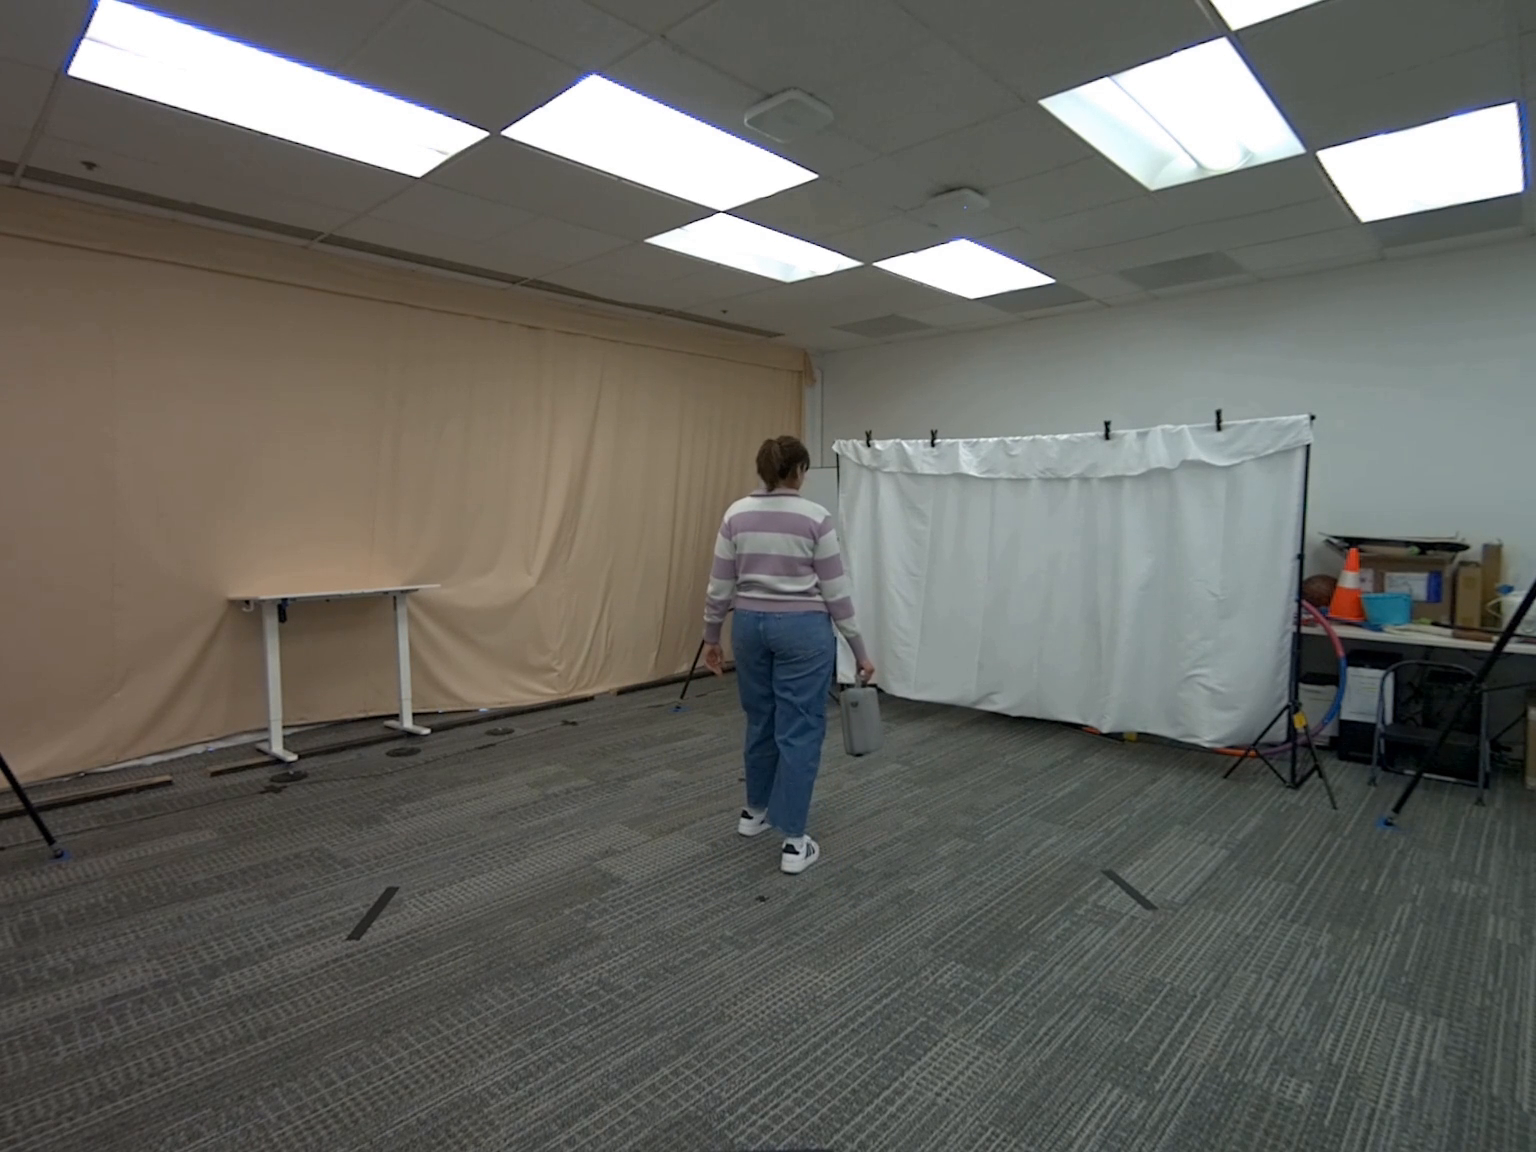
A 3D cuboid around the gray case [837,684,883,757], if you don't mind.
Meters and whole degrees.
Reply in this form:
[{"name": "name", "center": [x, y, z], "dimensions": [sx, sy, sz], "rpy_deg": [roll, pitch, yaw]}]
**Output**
[{"name": "gray case", "center": [0.375, 0.572, 3.354], "dimensions": [0.106, 0.262, 0.250], "rpy_deg": [-7, -6, 22]}]
